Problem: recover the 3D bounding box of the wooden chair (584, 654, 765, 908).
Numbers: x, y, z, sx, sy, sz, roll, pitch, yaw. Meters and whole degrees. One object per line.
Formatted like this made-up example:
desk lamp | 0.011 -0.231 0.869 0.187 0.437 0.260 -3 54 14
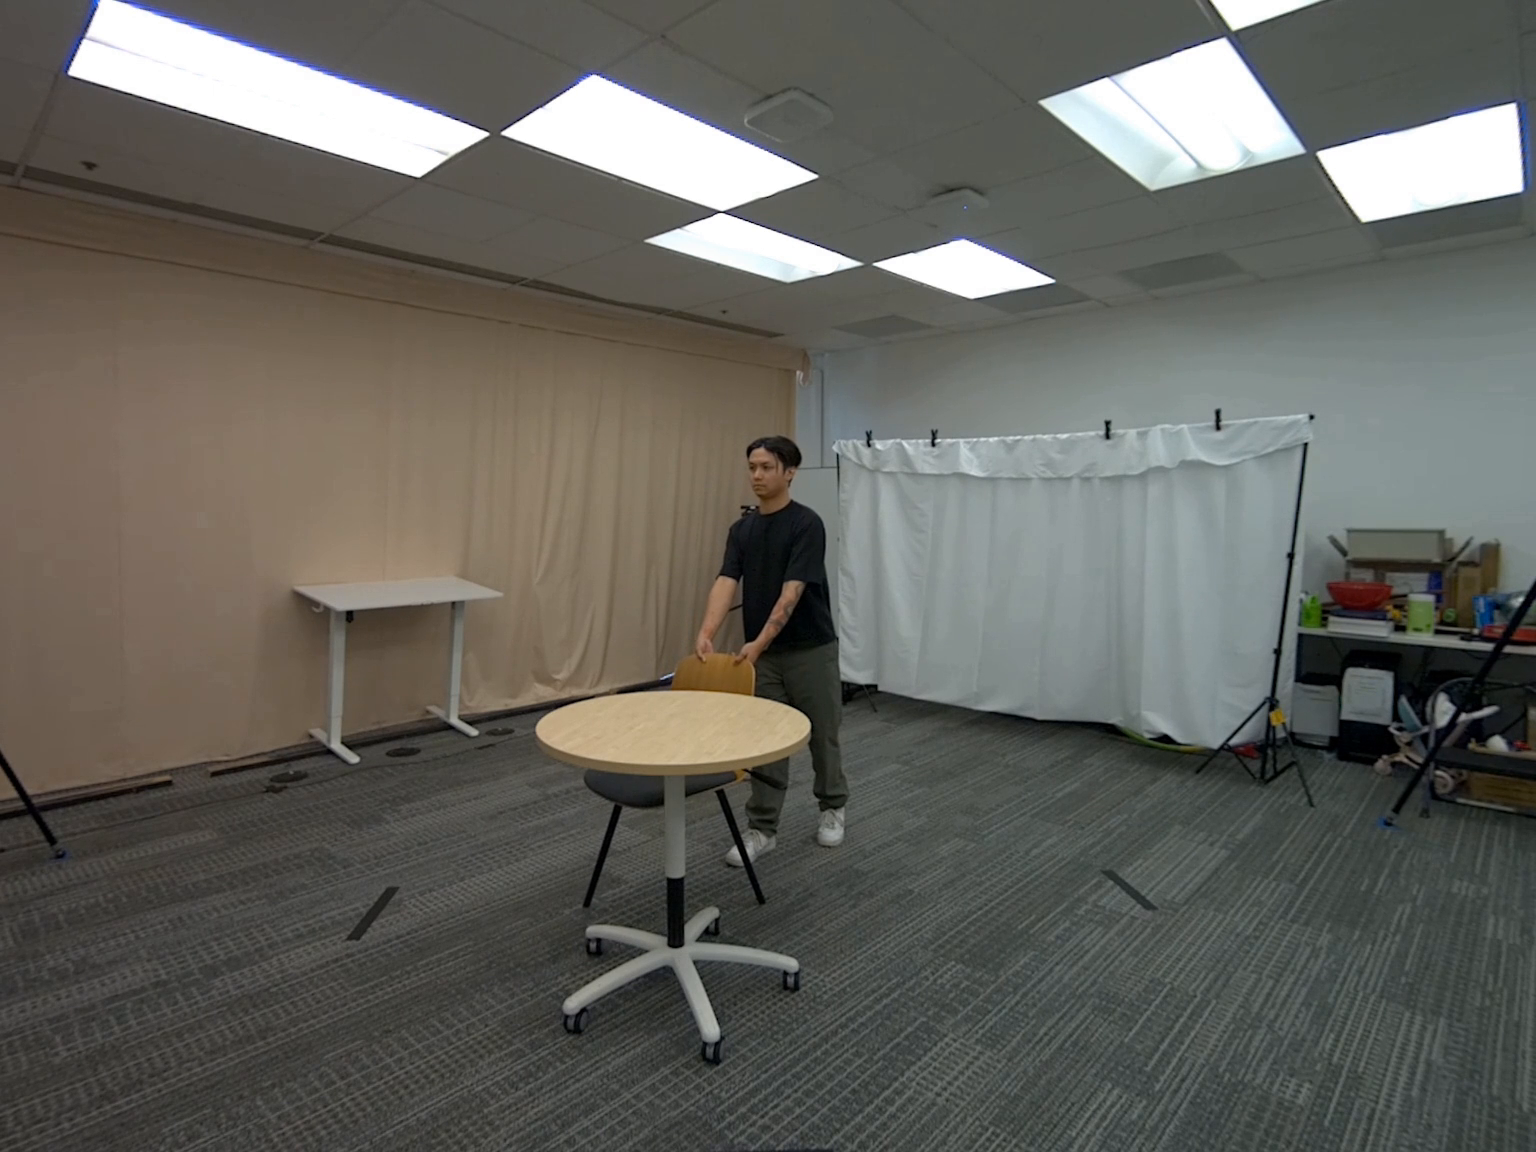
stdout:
wooden chair | -0.329 0.724 2.902 0.494 0.877 0.506 3 0 42
